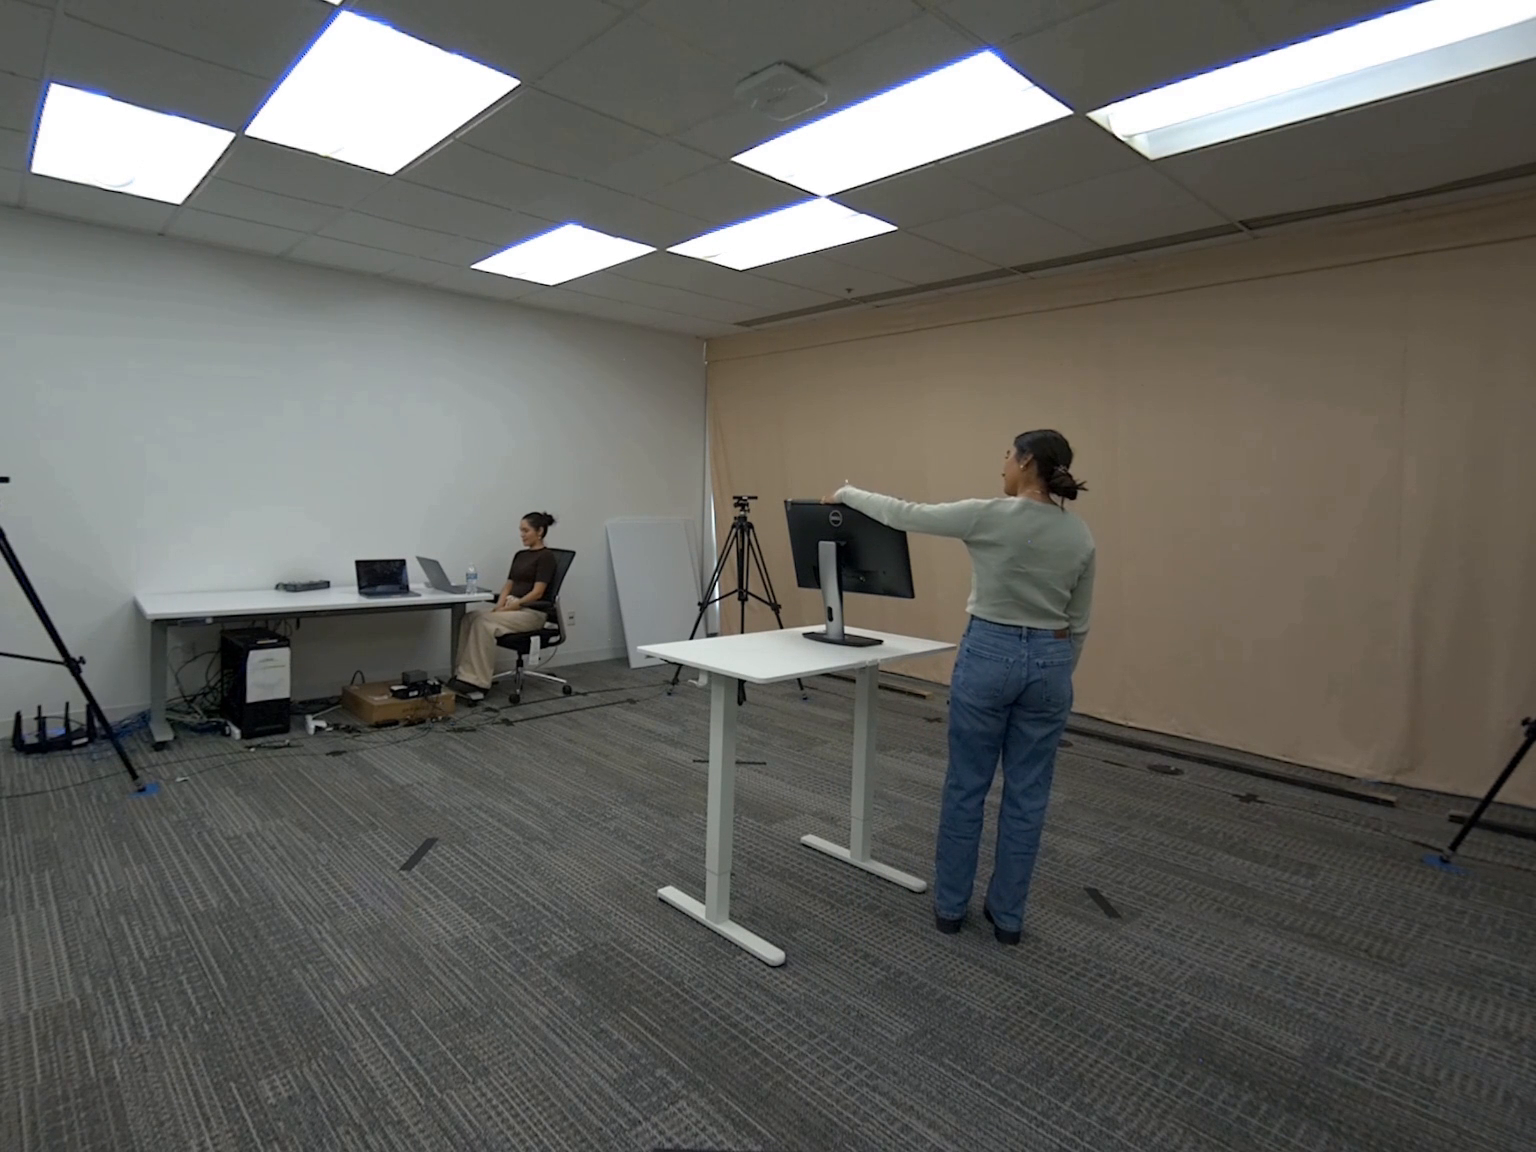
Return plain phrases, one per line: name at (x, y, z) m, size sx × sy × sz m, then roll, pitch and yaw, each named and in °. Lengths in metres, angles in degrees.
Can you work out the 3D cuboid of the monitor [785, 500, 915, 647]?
monitor at (0.257, -0.013, 3.043) m, size 0.553 × 0.521 × 0.183 m, roll 5°, pitch 6°, yaw 43°
